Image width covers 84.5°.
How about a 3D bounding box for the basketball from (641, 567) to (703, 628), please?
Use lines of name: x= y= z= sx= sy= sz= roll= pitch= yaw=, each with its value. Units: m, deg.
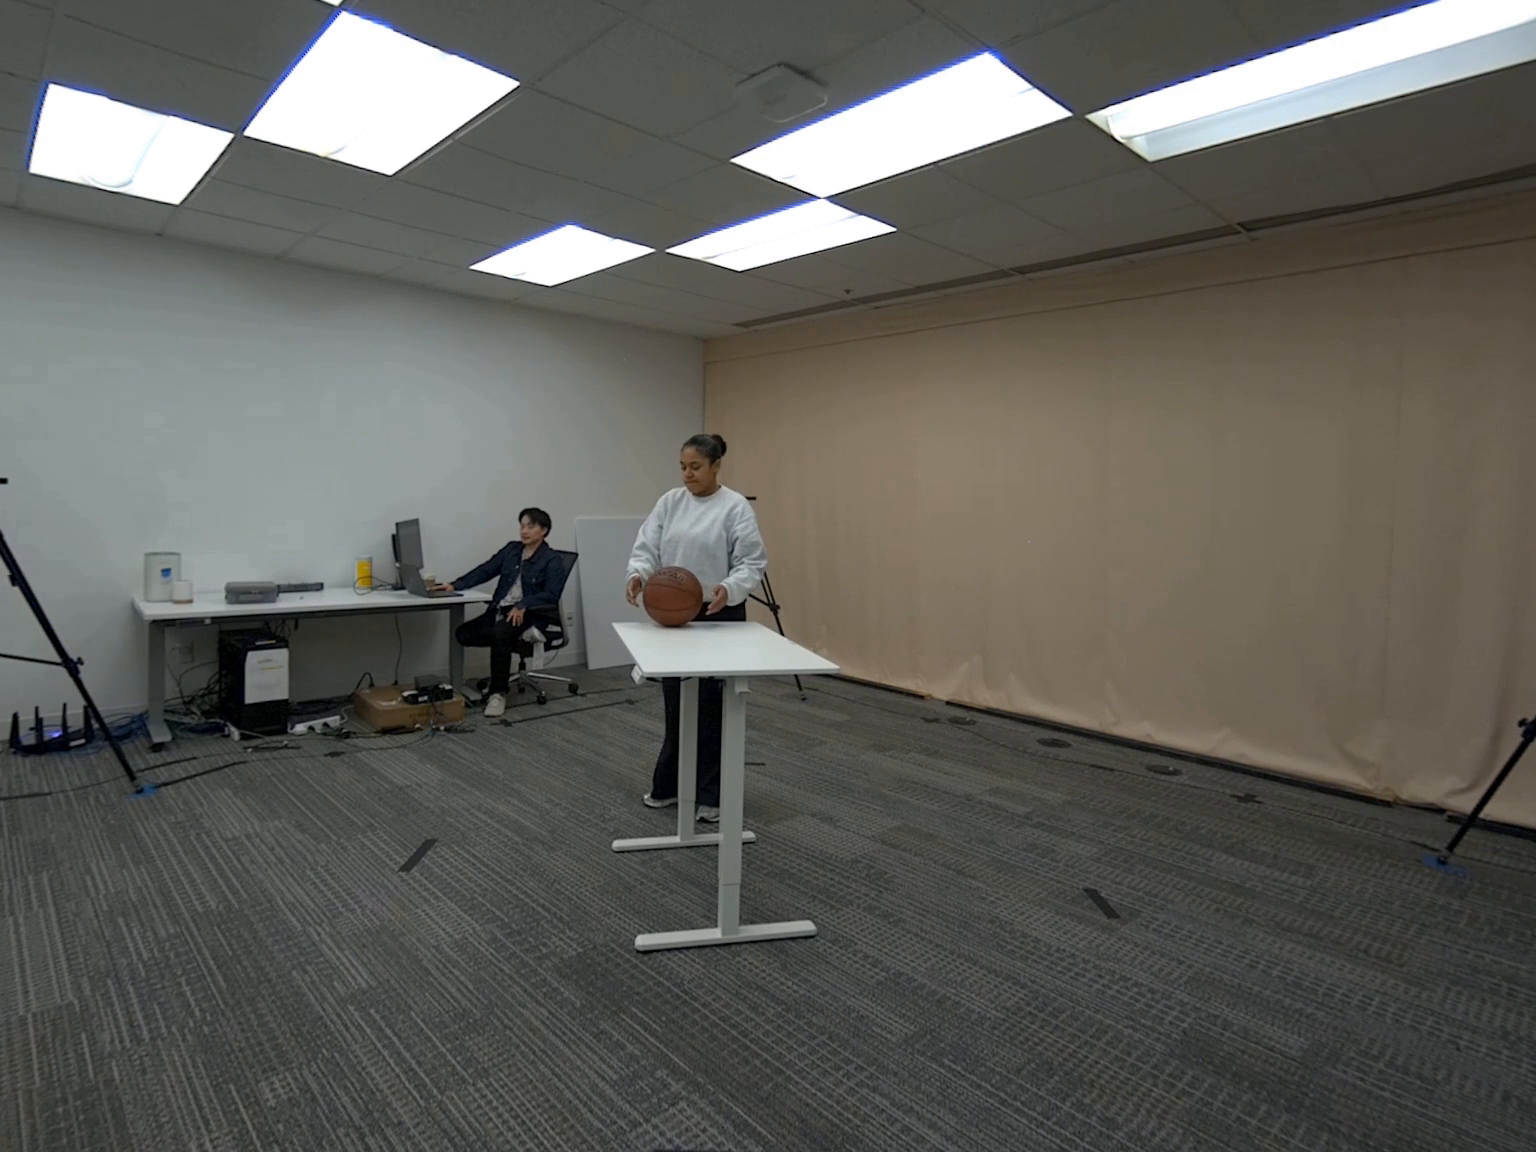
basketball: x=-0.391 y=0.079 z=3.335 sx=0.236 sy=0.235 sz=0.237 roll=1 pitch=4 yaw=-1
